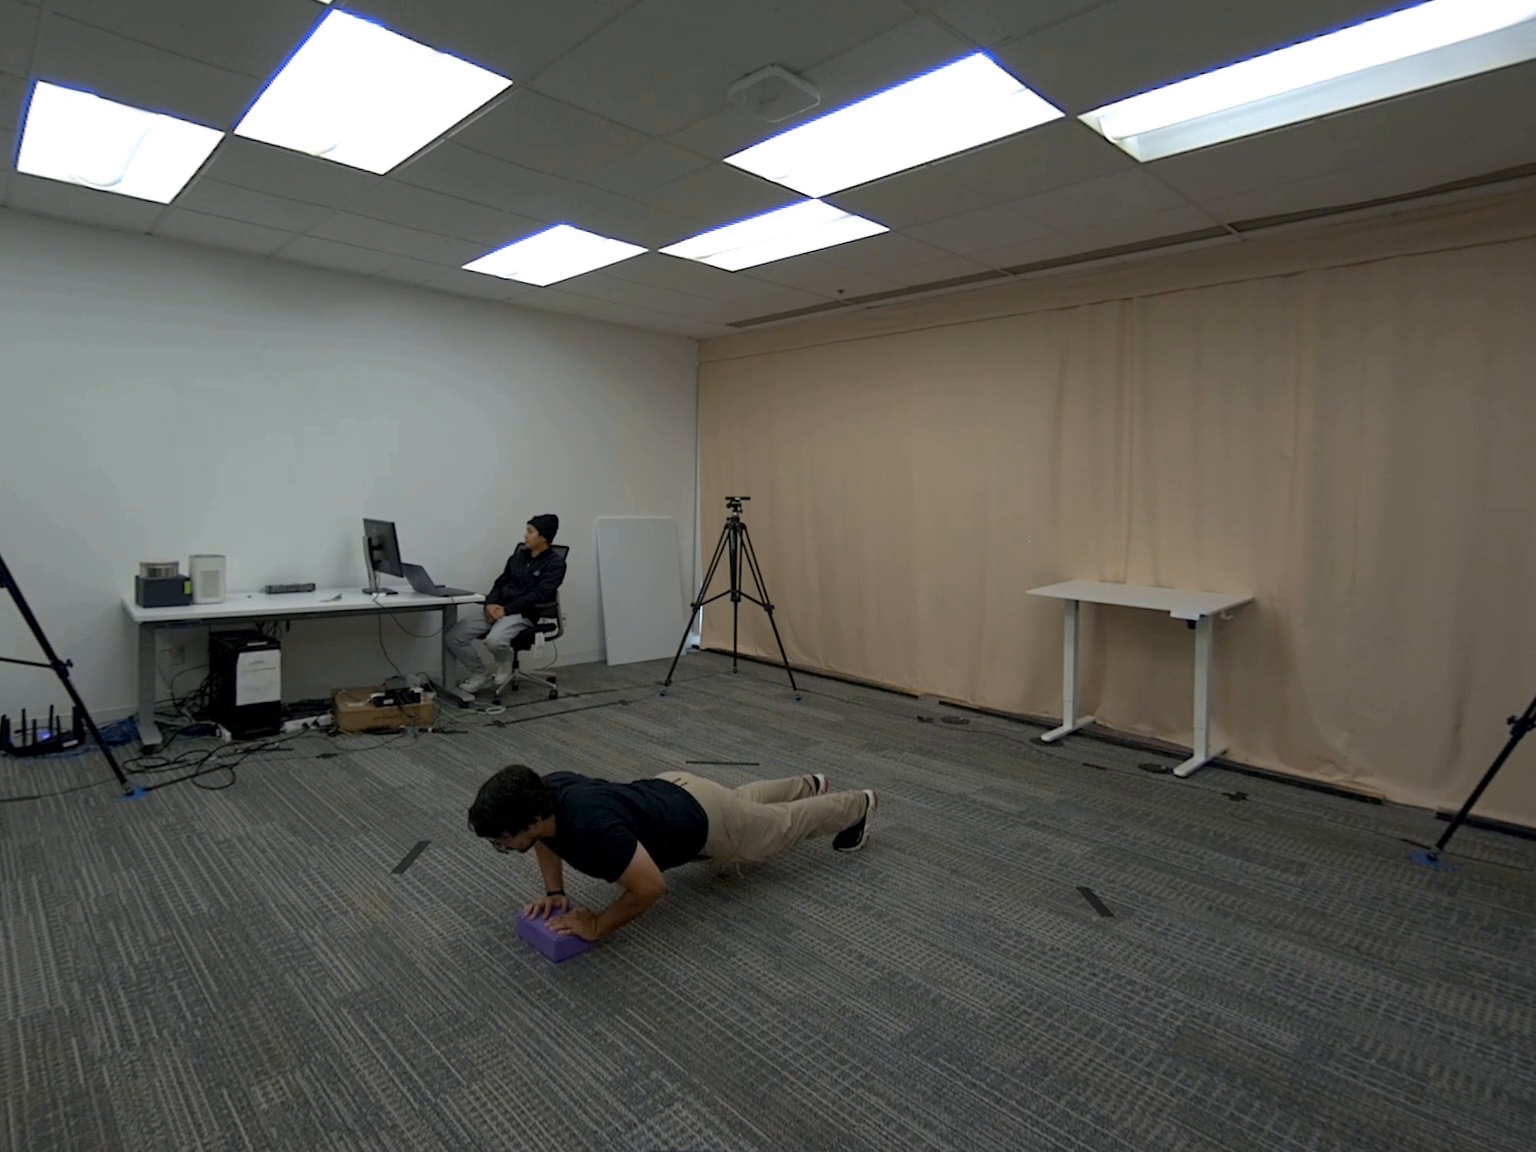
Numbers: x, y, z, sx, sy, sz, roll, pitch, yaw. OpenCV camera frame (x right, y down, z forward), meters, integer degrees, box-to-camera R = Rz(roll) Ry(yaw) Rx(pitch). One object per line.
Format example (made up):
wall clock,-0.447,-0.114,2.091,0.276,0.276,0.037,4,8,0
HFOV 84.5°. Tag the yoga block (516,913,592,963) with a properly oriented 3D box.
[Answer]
yoga block,-0.674,1.108,2.619,0.235,0.076,0.145,6,6,44
